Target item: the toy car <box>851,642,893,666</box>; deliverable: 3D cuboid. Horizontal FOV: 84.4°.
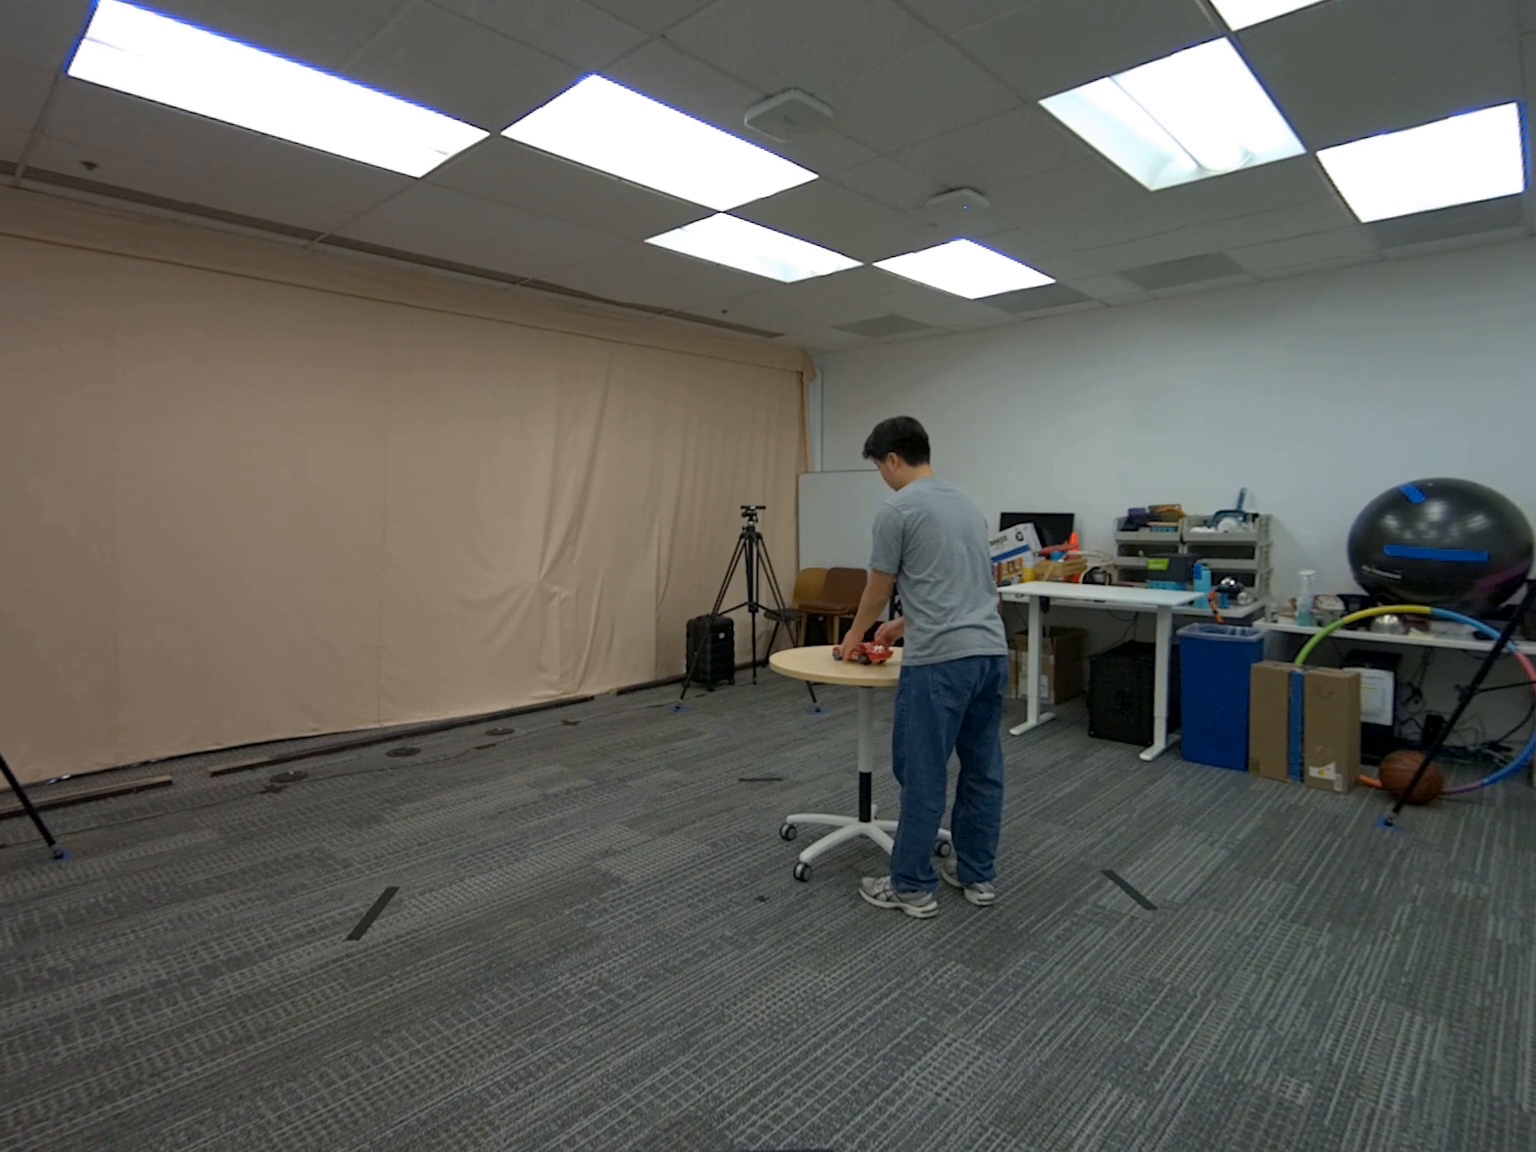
[{"bbox_3d":[0.380,0.305,3.275,0.126,0.083,0.261,-2,-6,-39],"label":"toy car"}]
